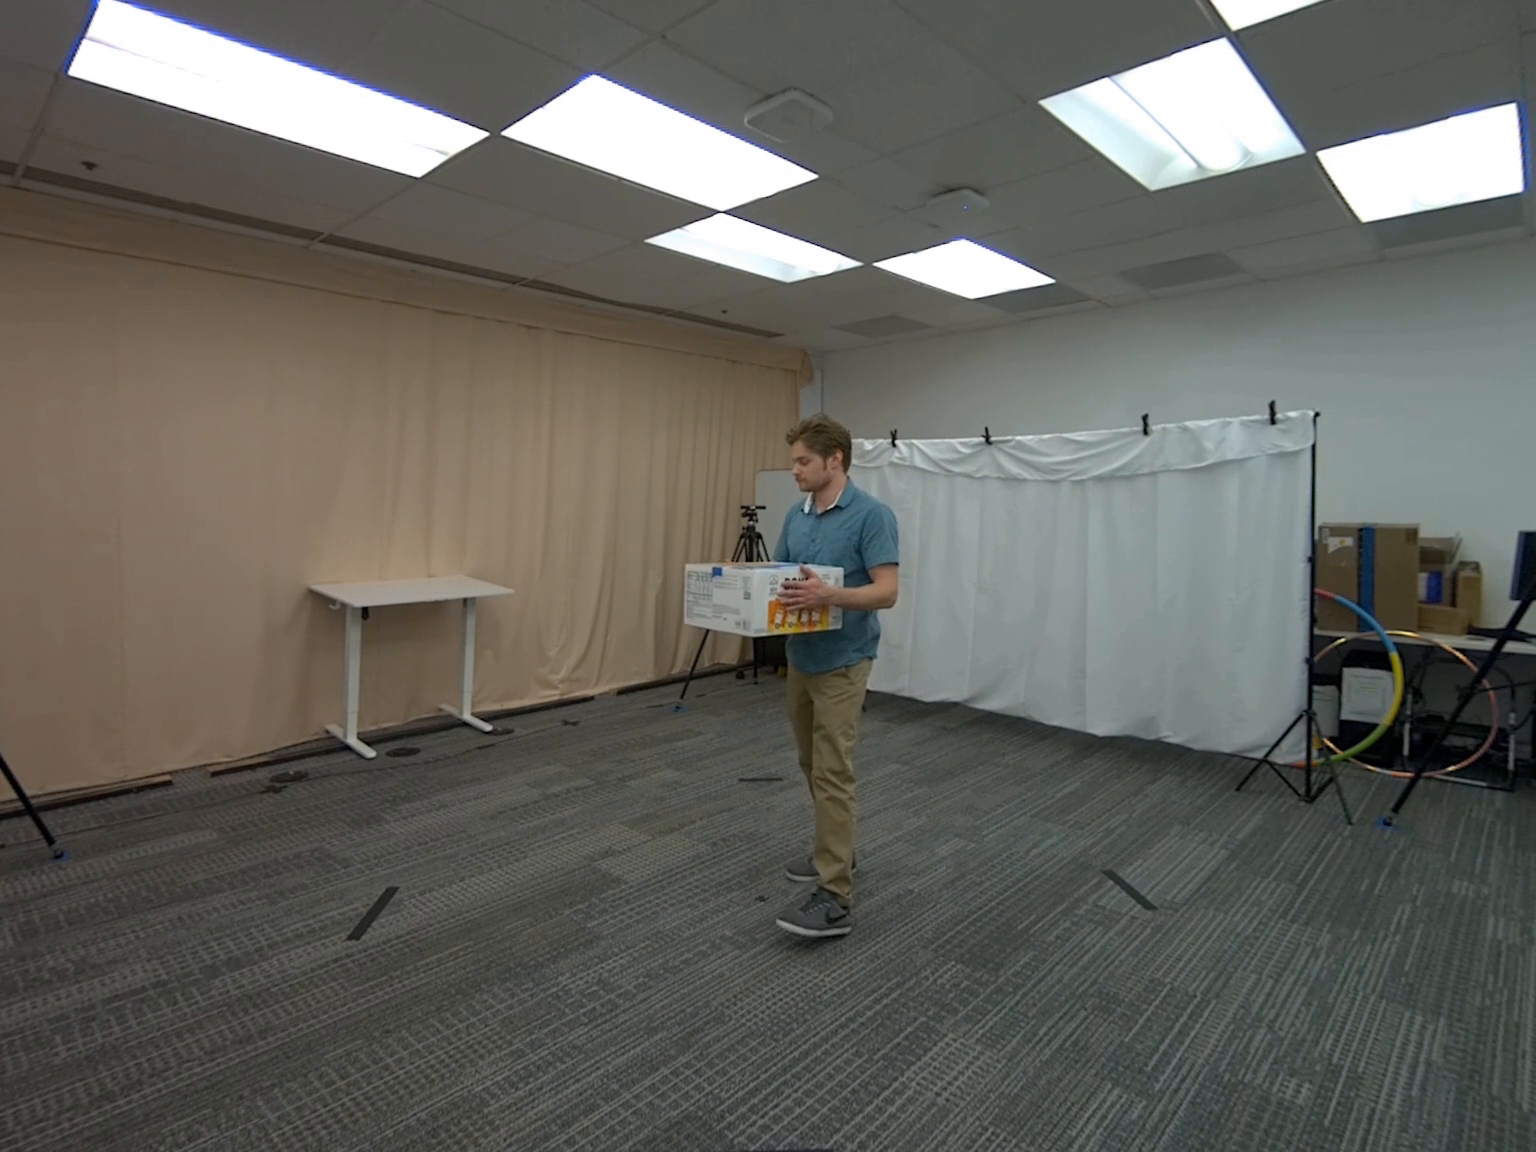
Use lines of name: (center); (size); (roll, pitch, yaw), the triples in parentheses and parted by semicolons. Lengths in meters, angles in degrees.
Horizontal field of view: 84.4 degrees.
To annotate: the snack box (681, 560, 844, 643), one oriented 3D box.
snack box: (-0.018, 0.070, 2.744); (0.393, 0.205, 0.352); (-3, 6, -40)
